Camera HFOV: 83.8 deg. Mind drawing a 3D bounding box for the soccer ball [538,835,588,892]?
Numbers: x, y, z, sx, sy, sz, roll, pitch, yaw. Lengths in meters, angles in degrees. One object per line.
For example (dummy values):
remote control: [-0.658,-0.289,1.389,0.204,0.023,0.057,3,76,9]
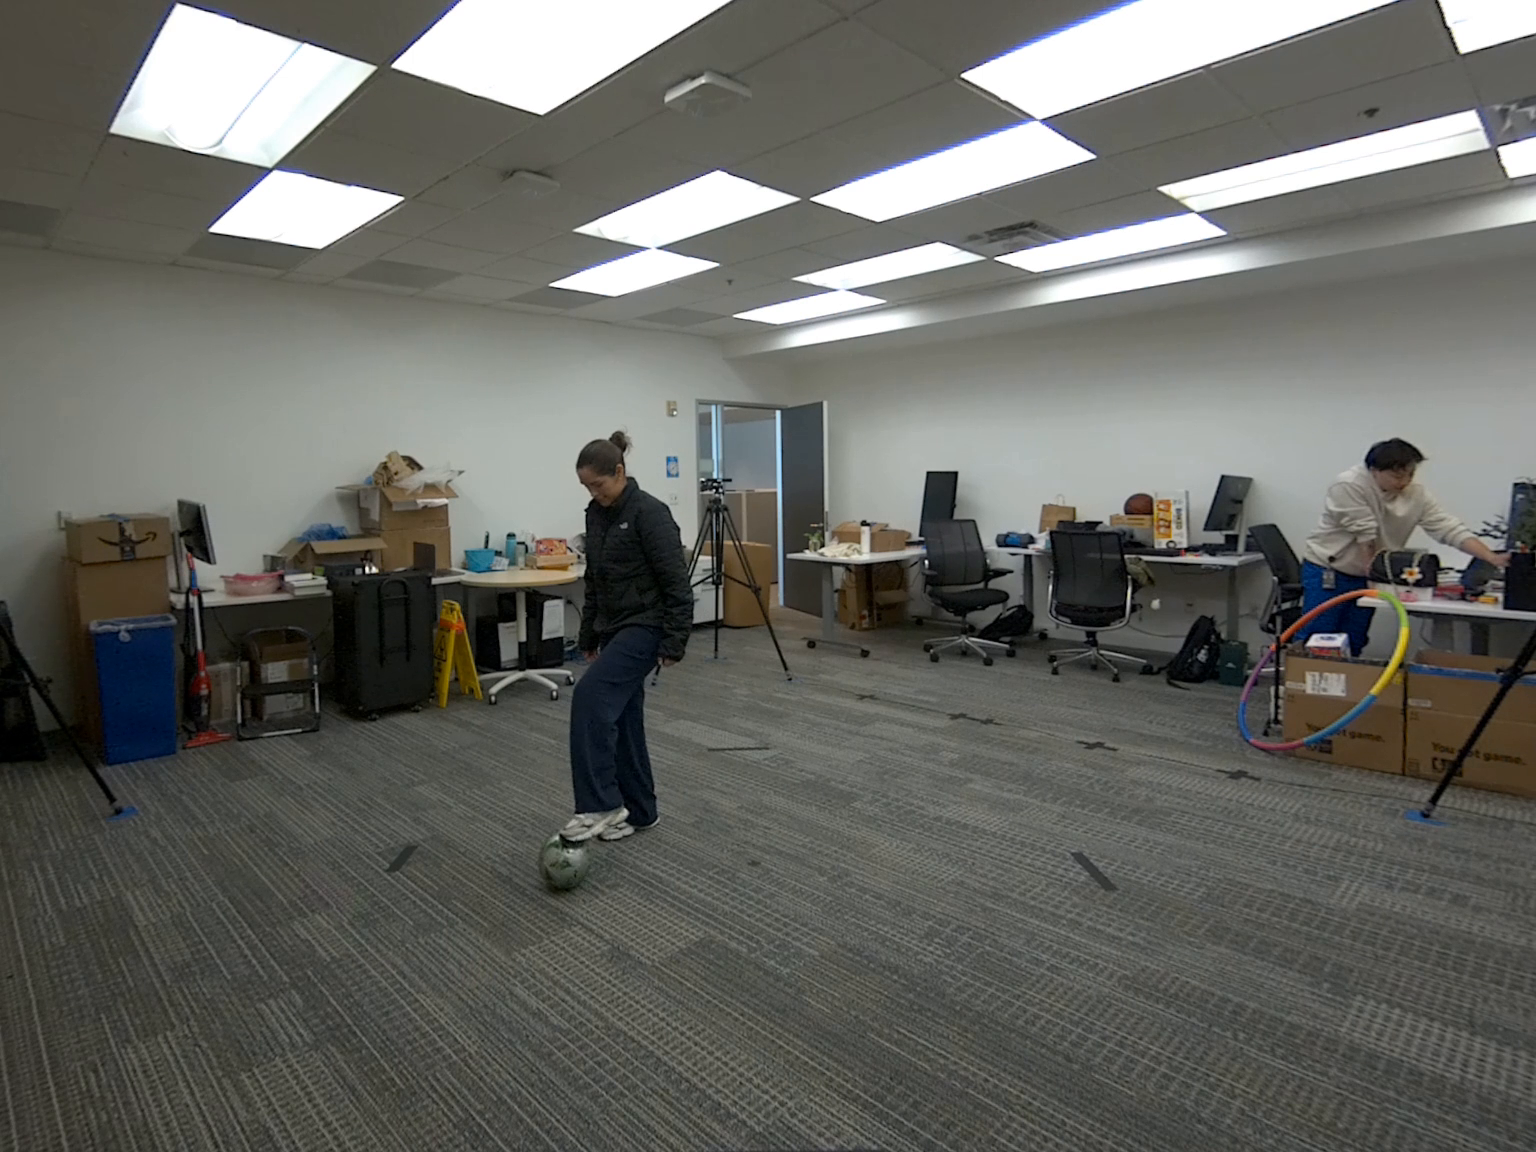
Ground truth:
soccer ball: [-0.698,0.984,2.957,0.187,0.187,0.188,-1,5,-2]
